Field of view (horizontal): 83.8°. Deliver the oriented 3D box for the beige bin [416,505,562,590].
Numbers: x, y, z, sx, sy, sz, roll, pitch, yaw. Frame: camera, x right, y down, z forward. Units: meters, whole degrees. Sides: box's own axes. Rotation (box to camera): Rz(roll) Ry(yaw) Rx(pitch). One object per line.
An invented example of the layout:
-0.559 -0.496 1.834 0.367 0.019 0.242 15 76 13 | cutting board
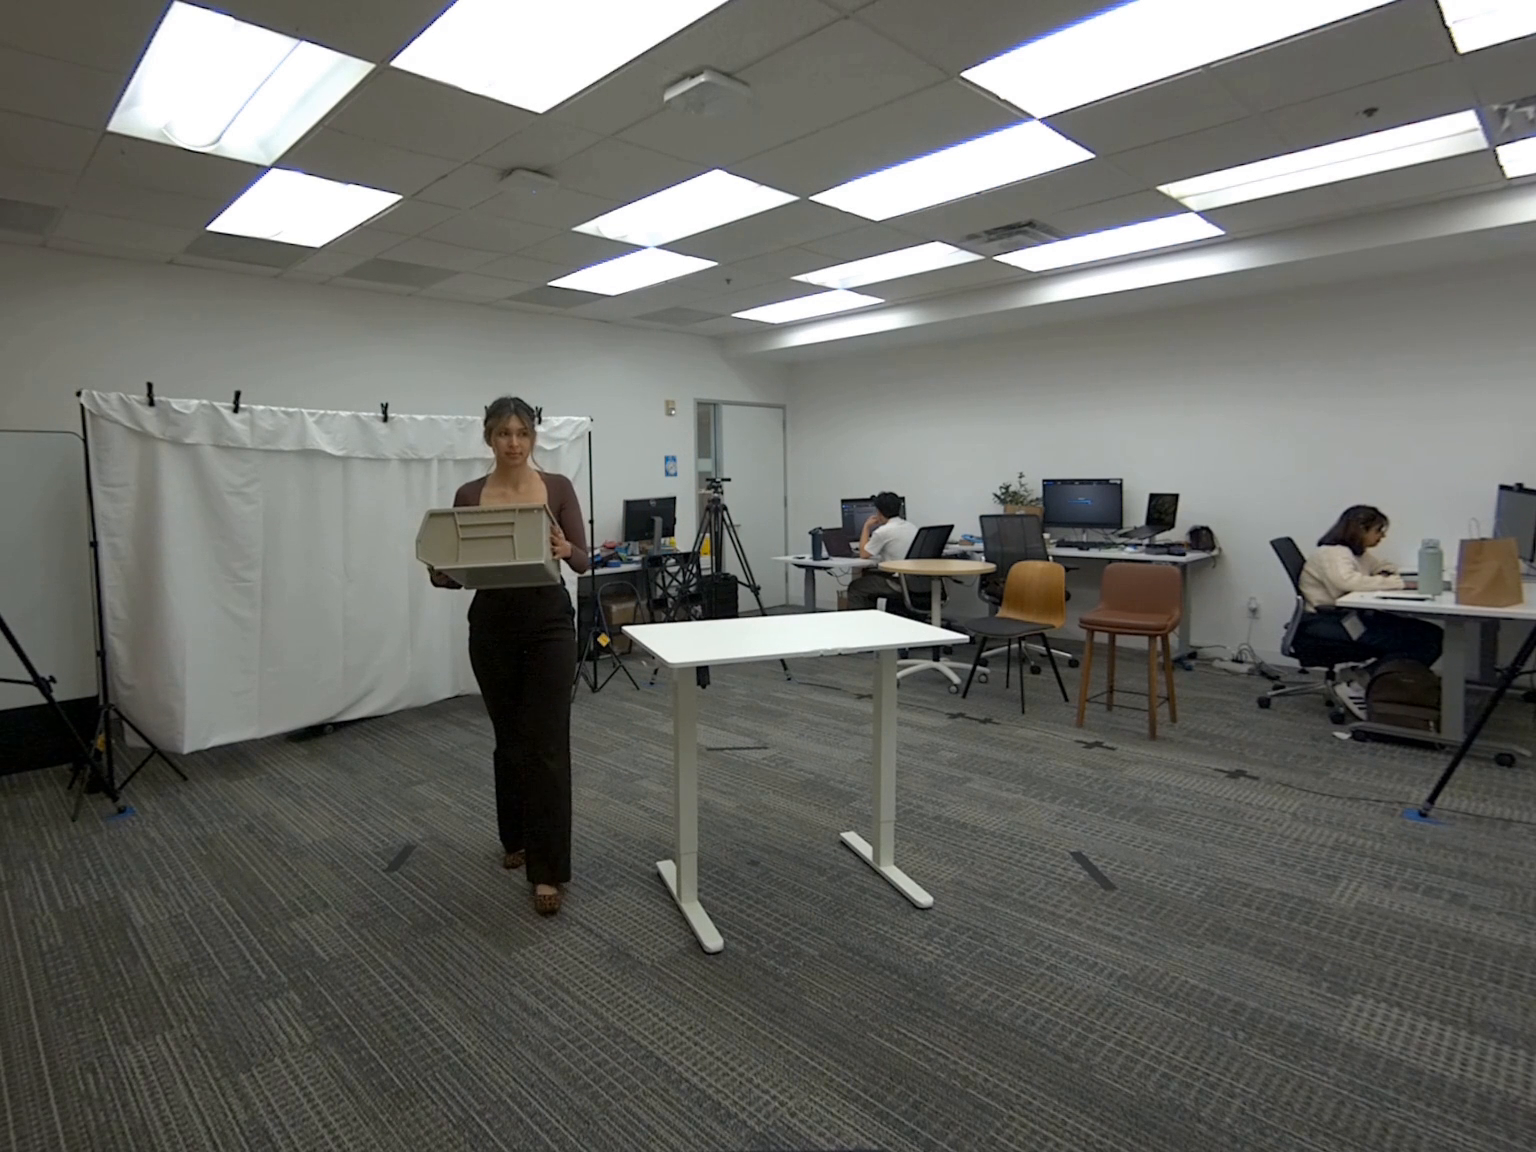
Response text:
-0.867 -0.087 2.676 0.375 0.191 0.420 0 -10 -6 | beige bin
